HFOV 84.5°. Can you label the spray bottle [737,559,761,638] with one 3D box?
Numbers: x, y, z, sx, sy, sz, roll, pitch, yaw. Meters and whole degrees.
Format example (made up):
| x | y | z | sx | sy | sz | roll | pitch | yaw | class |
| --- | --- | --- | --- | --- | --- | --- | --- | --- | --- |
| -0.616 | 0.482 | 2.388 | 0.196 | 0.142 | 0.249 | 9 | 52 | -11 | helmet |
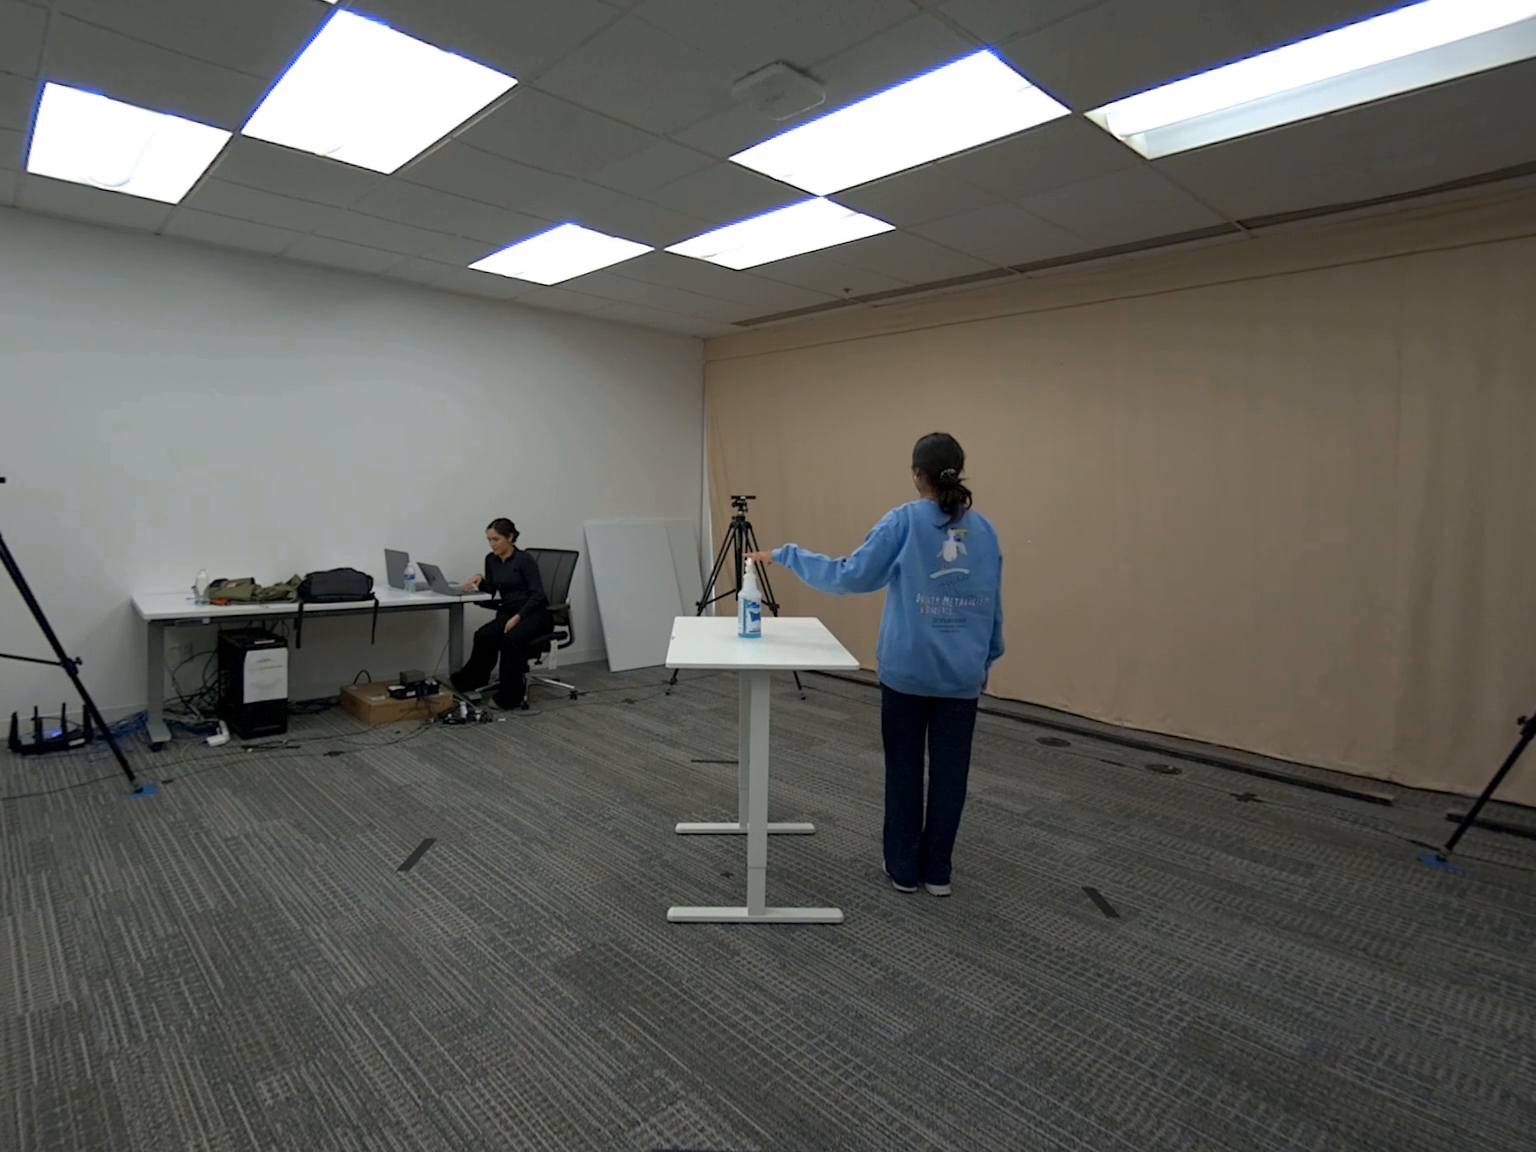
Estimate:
| x | y | z | sx | sy | sz | roll | pitch | yaw | class |
| --- | --- | --- | --- | --- | --- | --- | --- | --- | --- |
| -0.070 | 0.077 | 3.097 | 0.088 | 0.297 | 0.088 | 2 | 1 | 21 | spray bottle |
